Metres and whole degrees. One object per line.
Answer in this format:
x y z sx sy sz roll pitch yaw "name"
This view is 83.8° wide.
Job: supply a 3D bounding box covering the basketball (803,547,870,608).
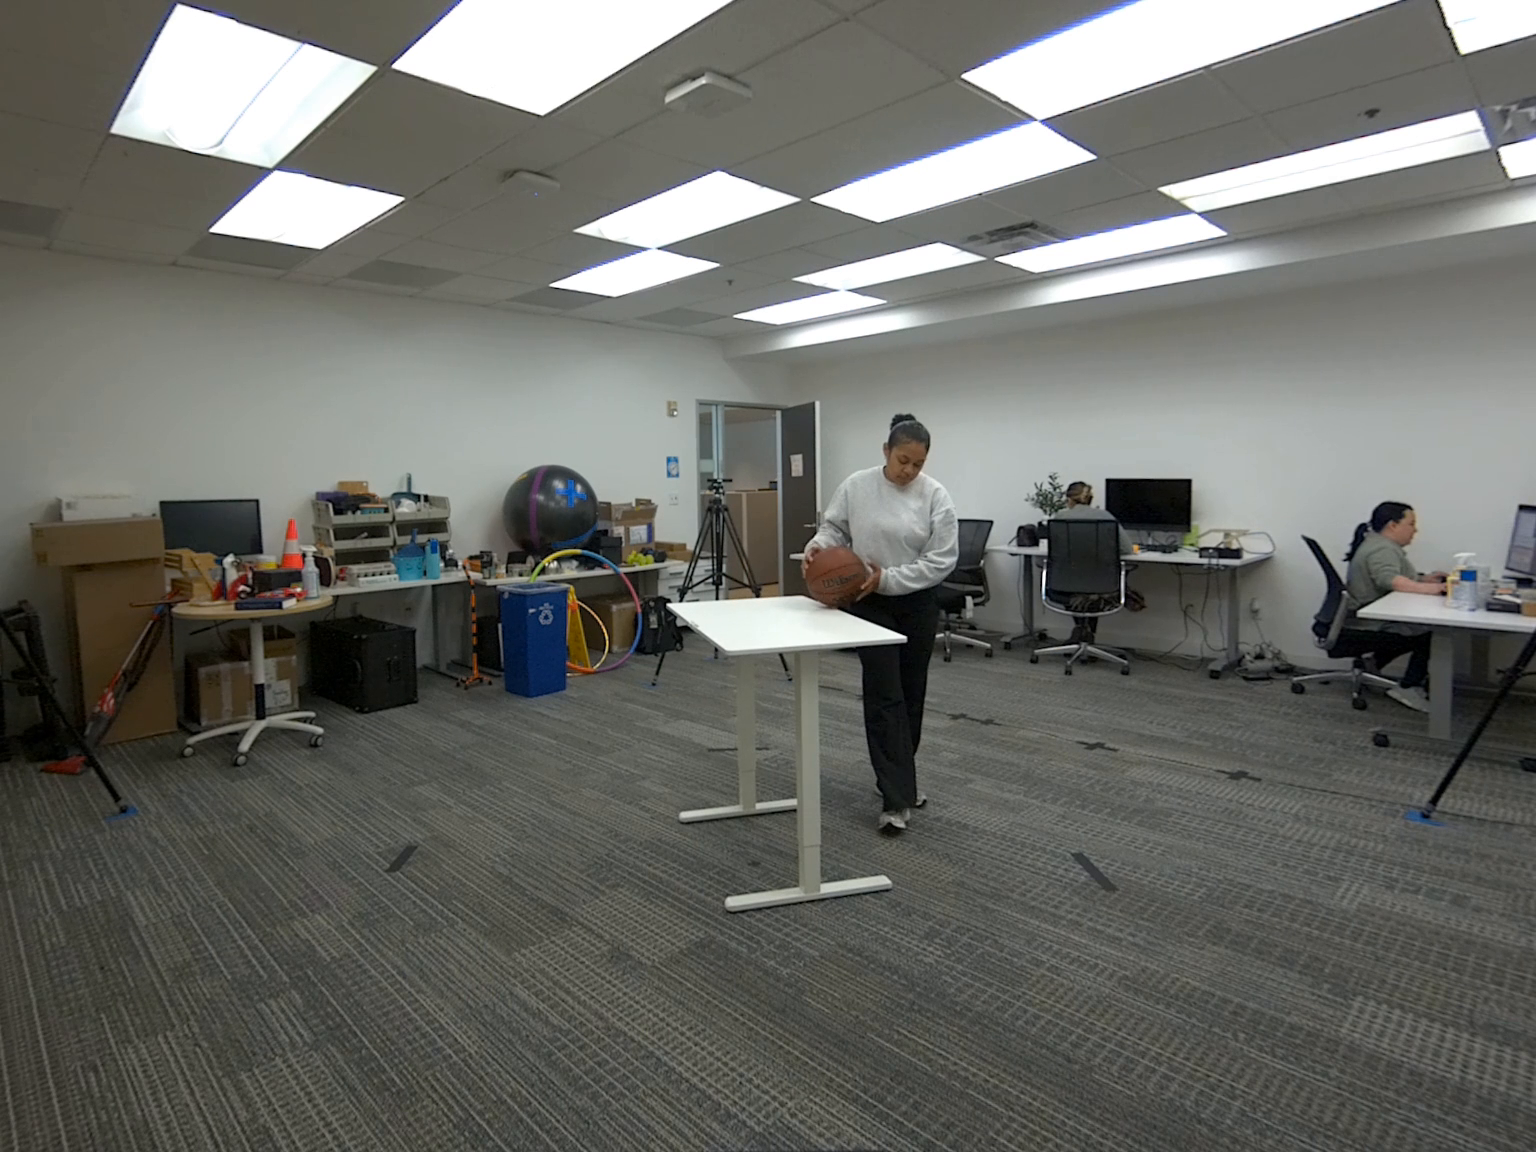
0.278 0.007 3.367 0.236 0.235 0.237 -1 5 -2 "basketball"
